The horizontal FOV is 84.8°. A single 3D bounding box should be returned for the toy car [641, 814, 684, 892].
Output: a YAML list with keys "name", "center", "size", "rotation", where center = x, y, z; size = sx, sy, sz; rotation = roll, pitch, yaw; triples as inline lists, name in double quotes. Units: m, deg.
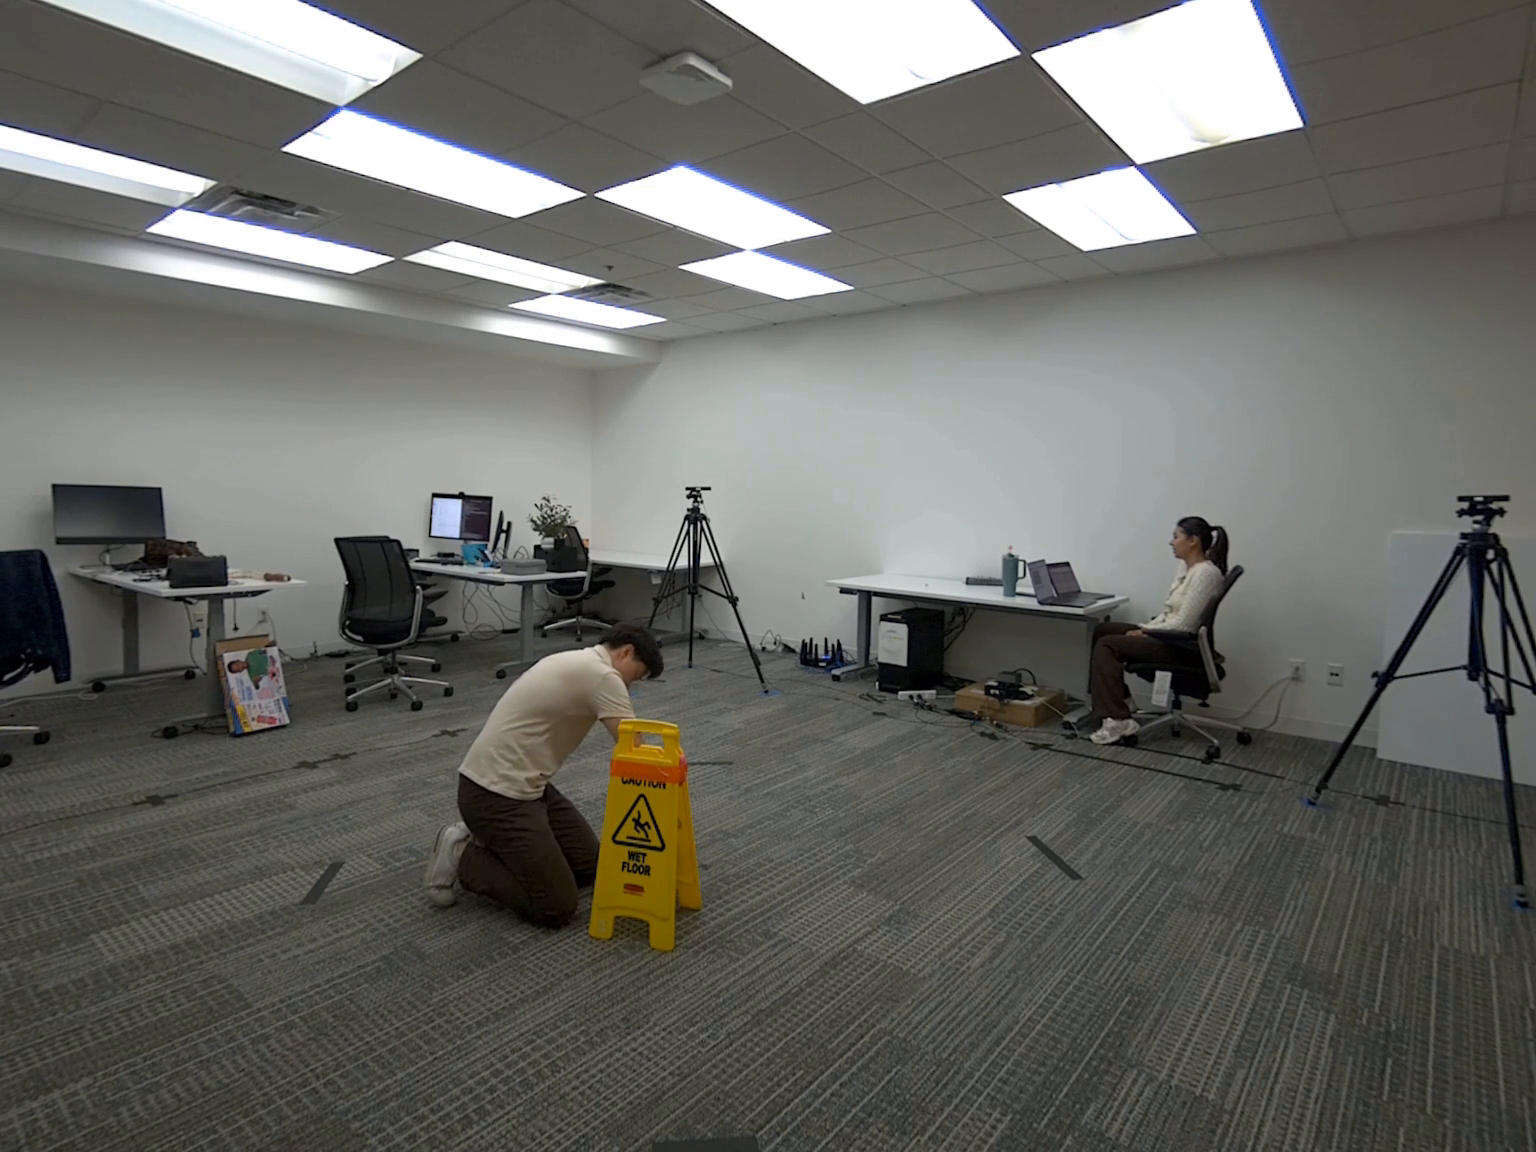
- name: "toy car"
  center: [-0.359, 0.941, 2.856]
  size: [0.131, 0.249, 0.085]
  rotation: [4, 26, 2]
